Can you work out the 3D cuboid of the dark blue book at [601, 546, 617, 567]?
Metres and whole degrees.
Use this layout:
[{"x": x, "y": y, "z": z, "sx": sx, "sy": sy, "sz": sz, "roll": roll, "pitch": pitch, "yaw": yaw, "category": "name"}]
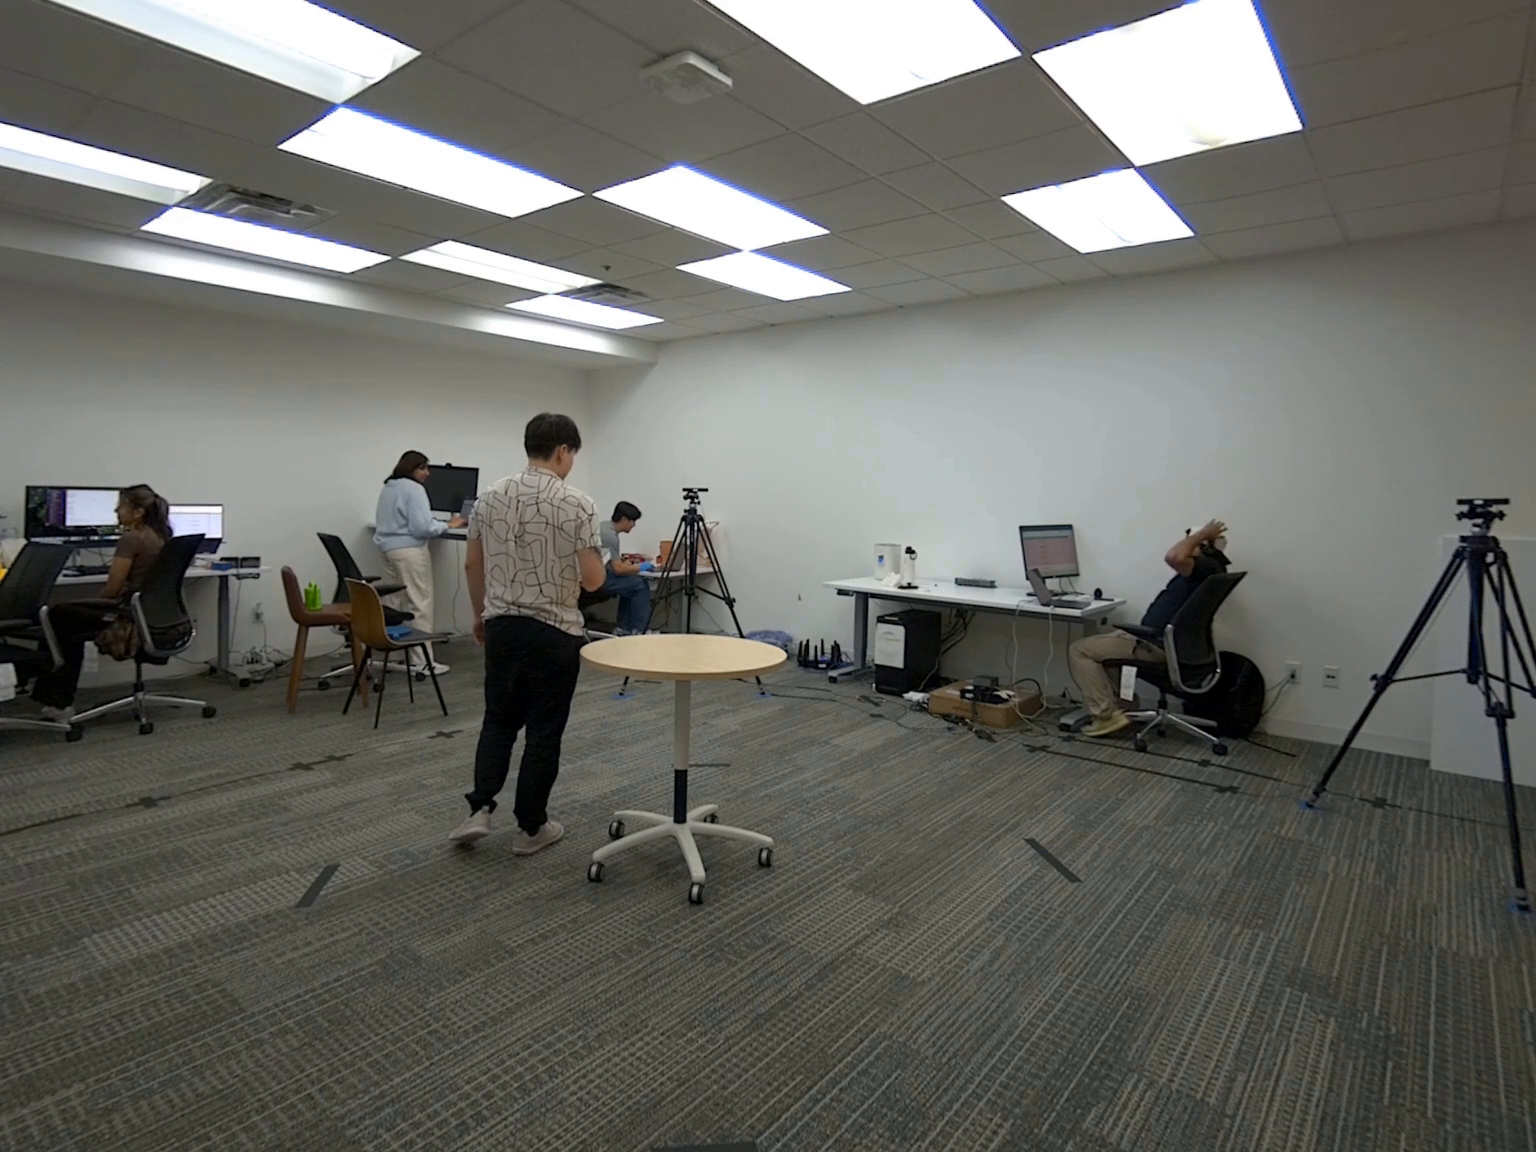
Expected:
[{"x": -0.781, "y": -0.050, "z": 3.544, "sx": 0.165, "sy": 0.044, "sz": 0.247, "roll": -4, "pitch": 23, "yaw": 12, "category": "dark blue book"}]
